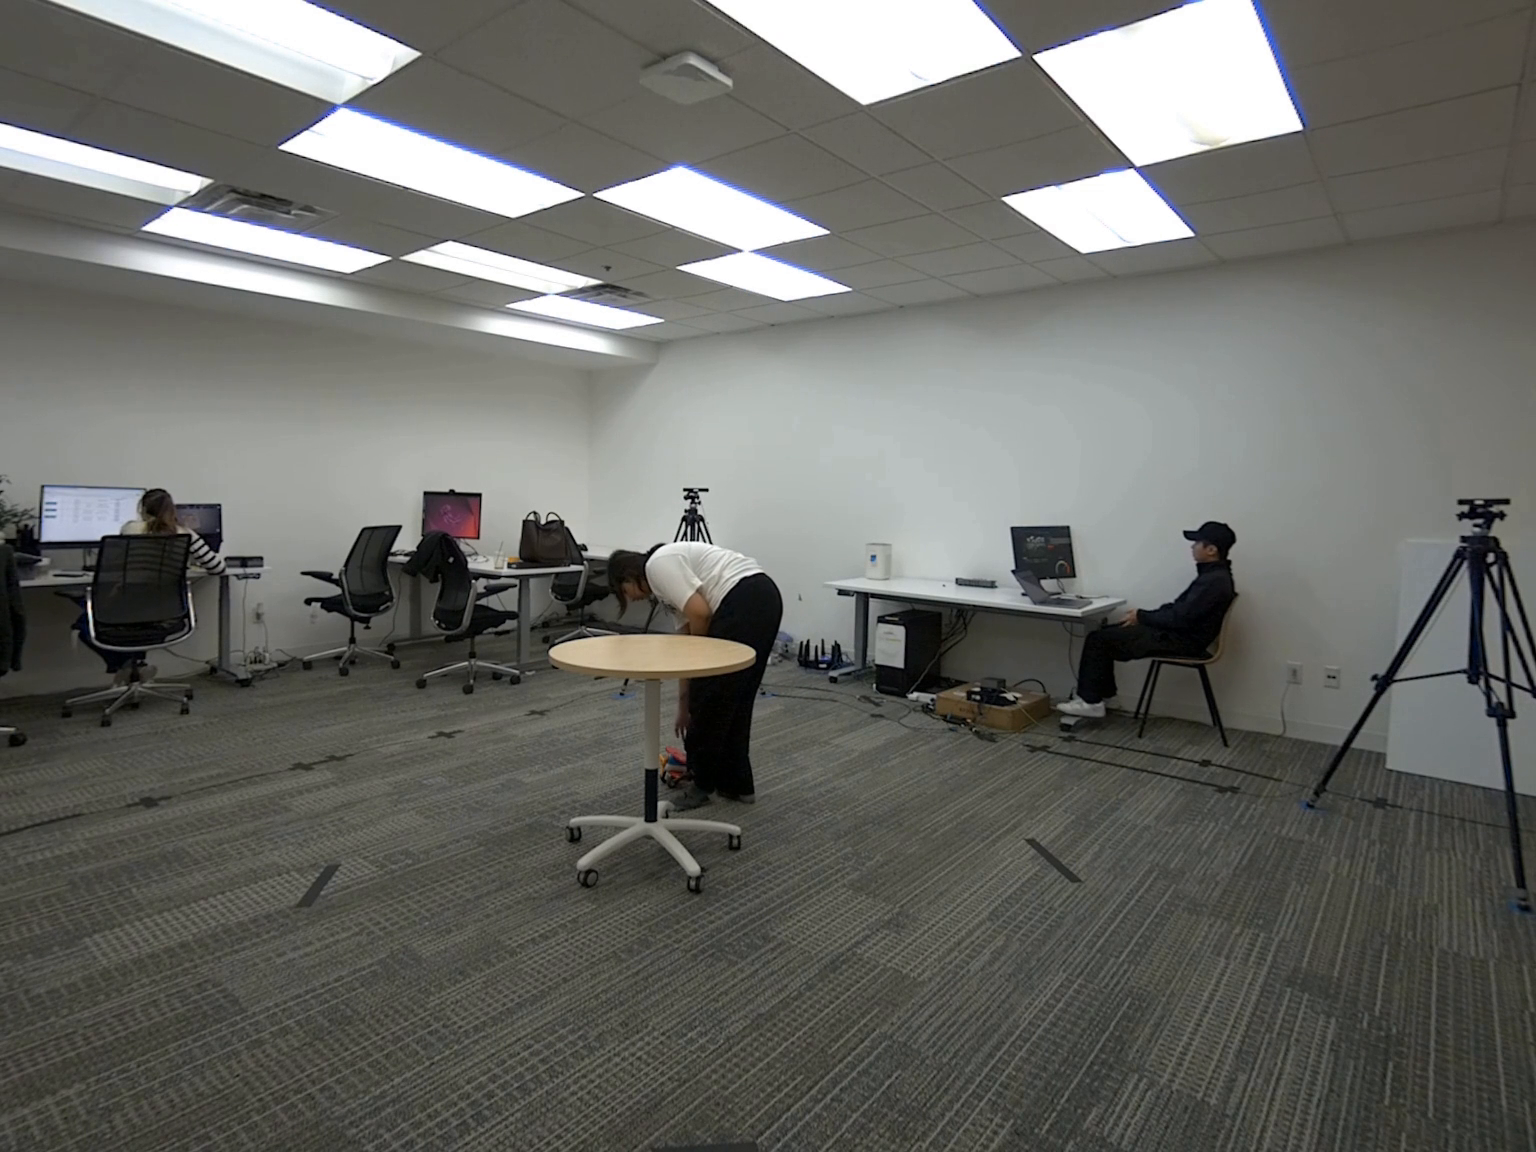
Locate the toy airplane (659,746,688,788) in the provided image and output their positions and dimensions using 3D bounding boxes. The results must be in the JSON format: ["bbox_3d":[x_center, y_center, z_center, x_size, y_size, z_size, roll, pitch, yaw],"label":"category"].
[{"bbox_3d":[-0.410,0.908,4.053,0.259,0.156,0.252,2,4,36],"label":"toy airplane"}]
